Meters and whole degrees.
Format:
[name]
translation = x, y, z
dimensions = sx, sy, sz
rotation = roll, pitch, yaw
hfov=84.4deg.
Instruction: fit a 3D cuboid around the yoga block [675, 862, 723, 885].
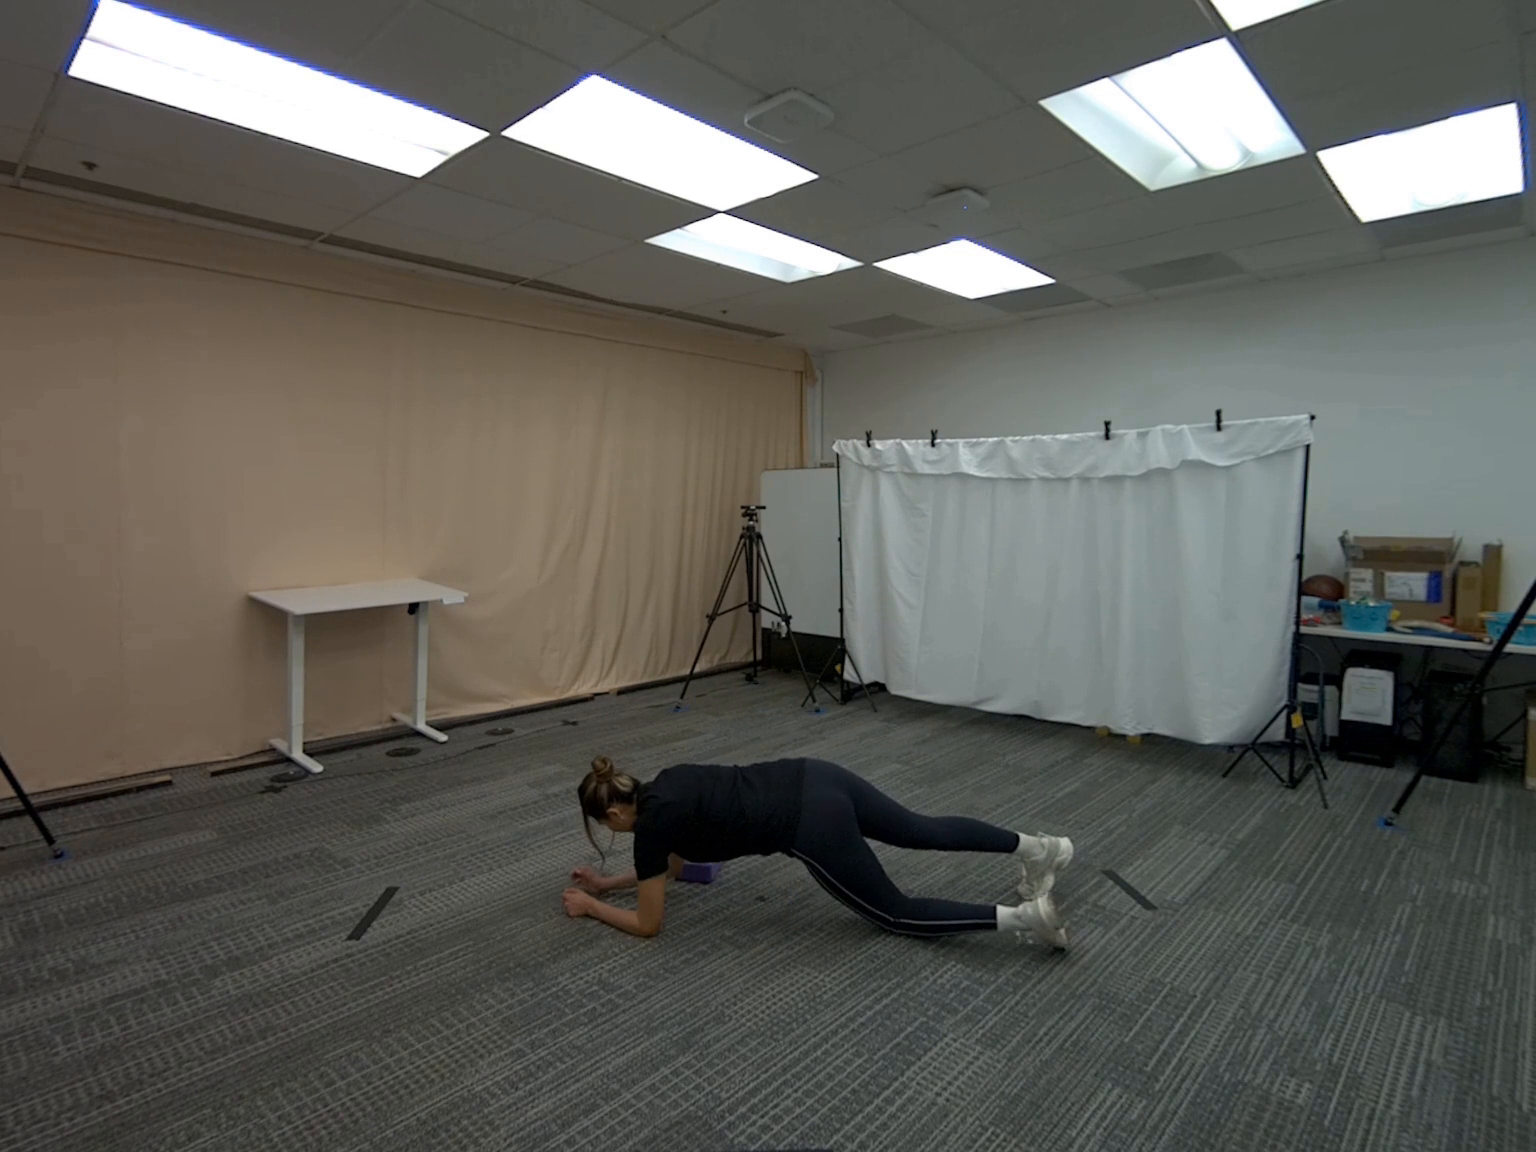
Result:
[yoga block]
translation = -0.257, 1.086, 3.217
dimensions = 0.151, 0.076, 0.227
rotation = 2, 5, 12
